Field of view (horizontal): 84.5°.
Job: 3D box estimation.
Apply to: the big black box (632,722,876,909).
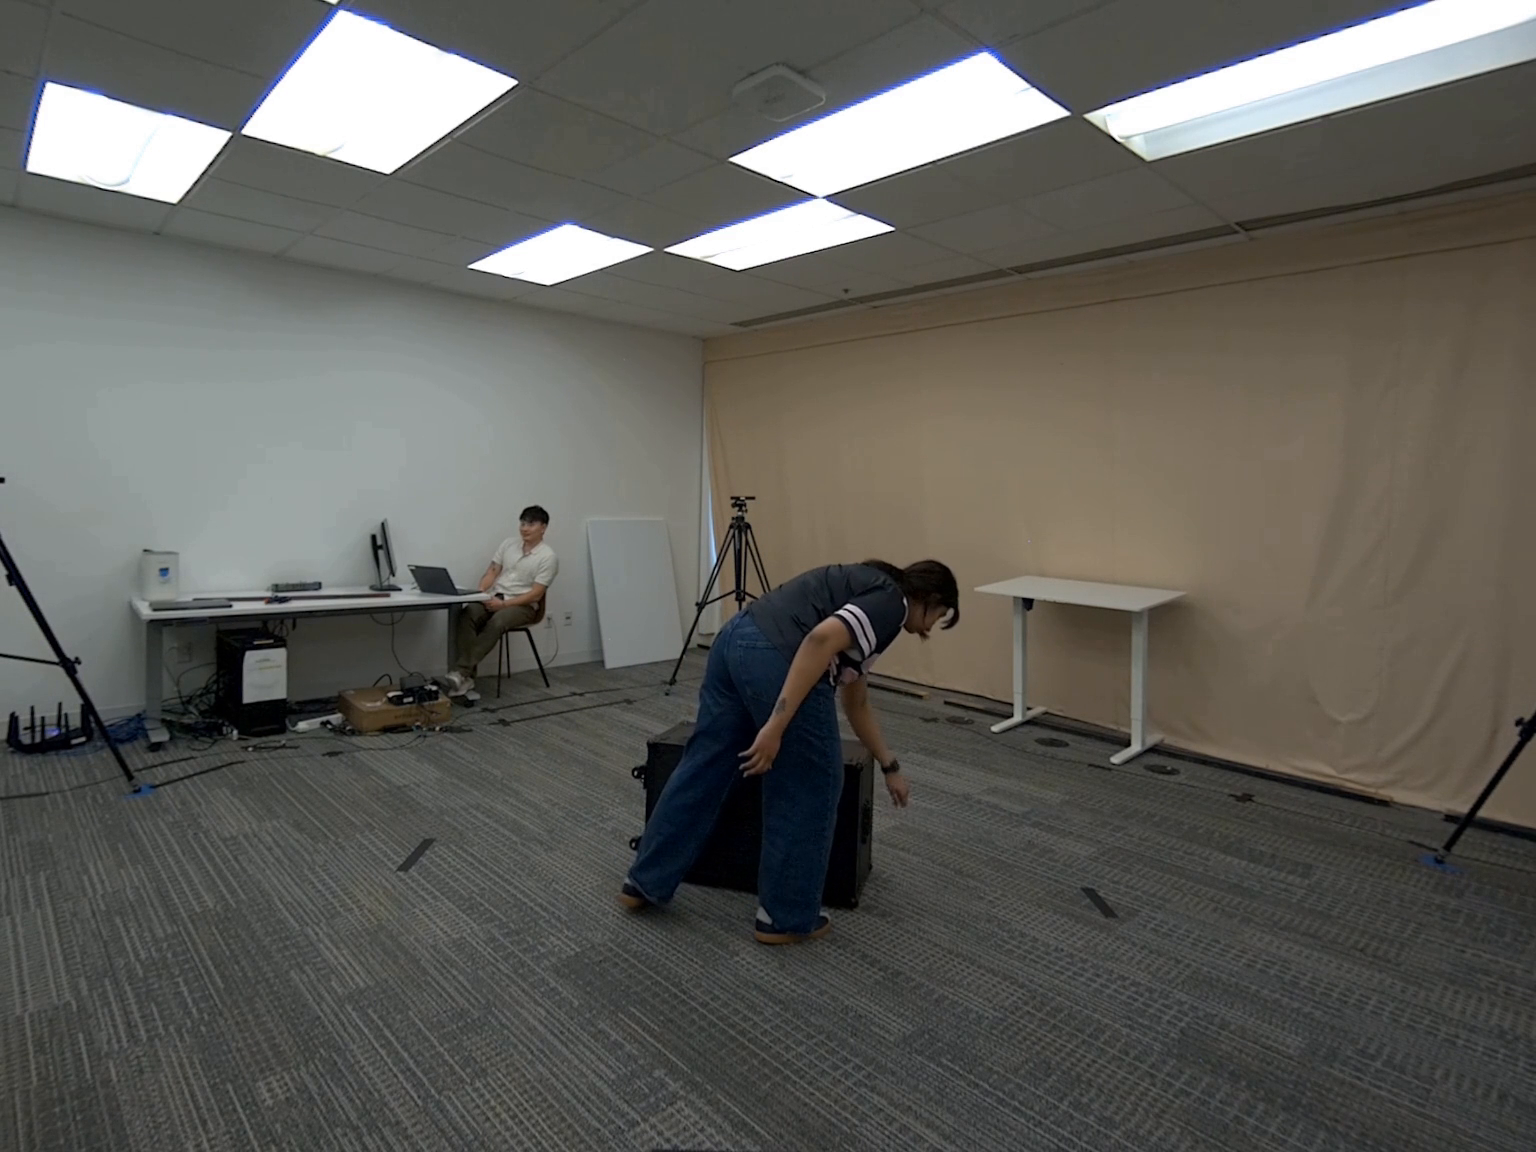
[{"bbox_3d":[-0.064,0.847,3.136,0.881,0.522,0.380,3,4,17],"label":"big black box"}]
